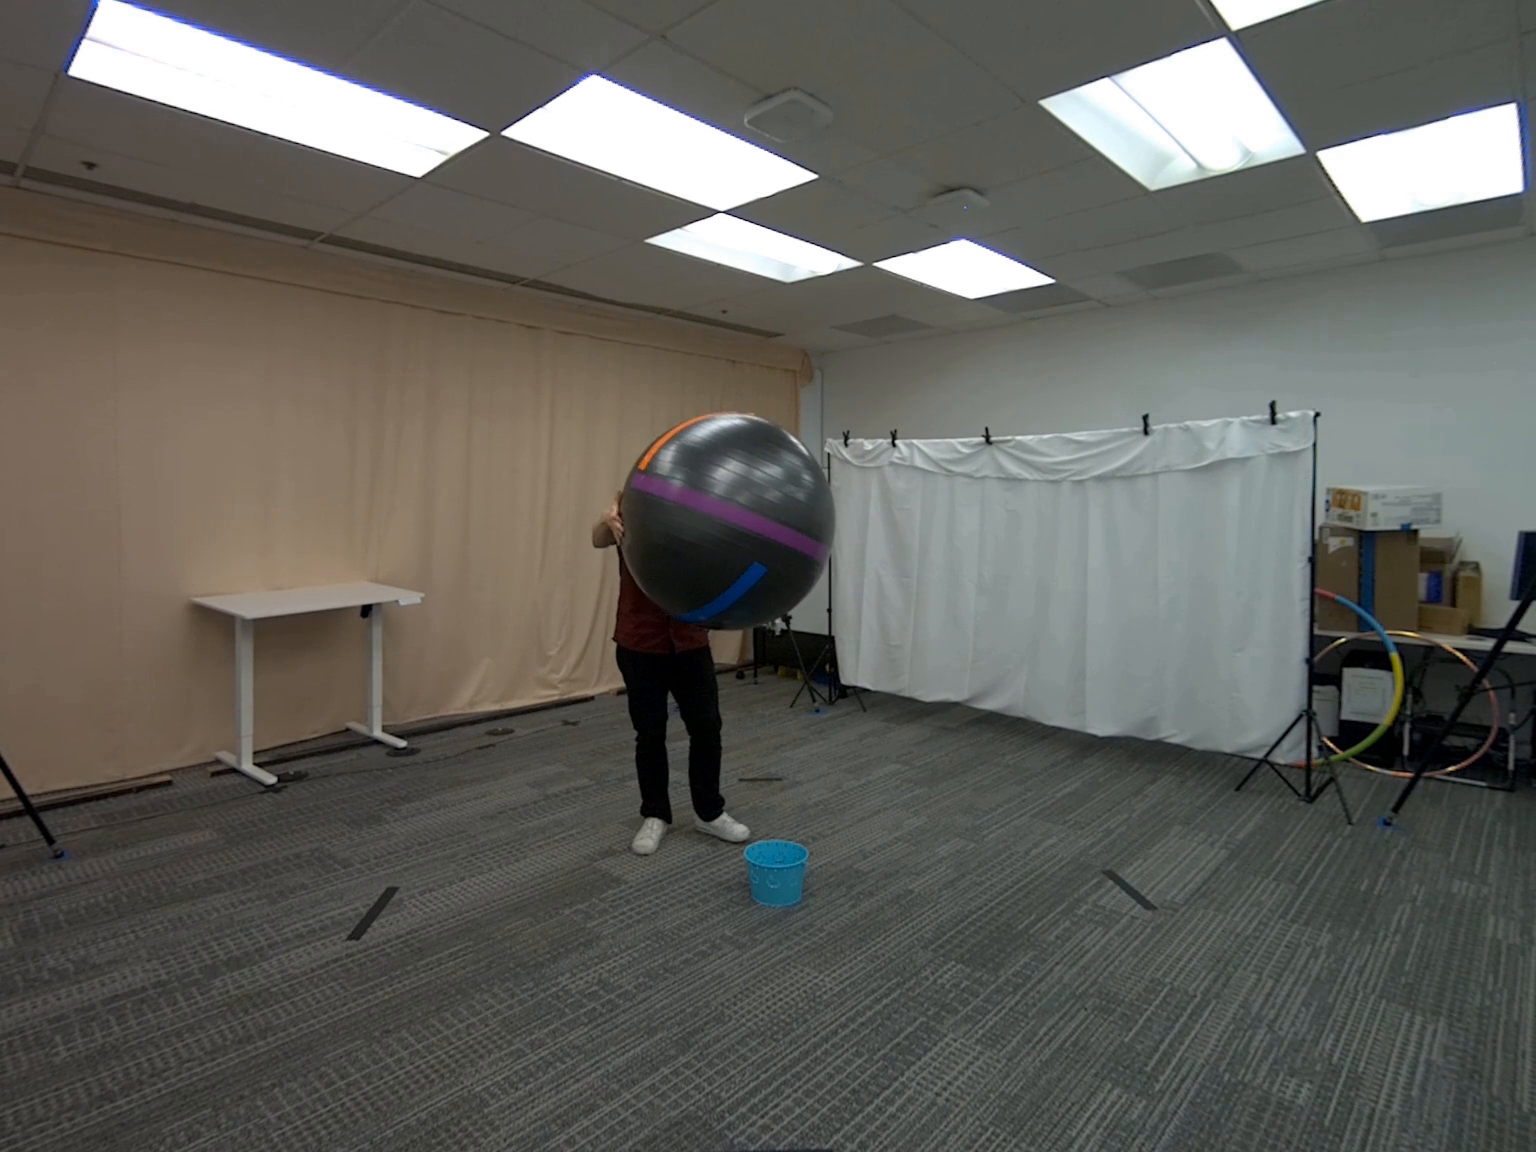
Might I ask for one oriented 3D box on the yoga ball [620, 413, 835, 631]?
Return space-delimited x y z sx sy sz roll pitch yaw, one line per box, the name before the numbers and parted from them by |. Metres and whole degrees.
yoga ball | -0.140 -0.181 2.962 0.757 0.756 0.761 0 4 -2
